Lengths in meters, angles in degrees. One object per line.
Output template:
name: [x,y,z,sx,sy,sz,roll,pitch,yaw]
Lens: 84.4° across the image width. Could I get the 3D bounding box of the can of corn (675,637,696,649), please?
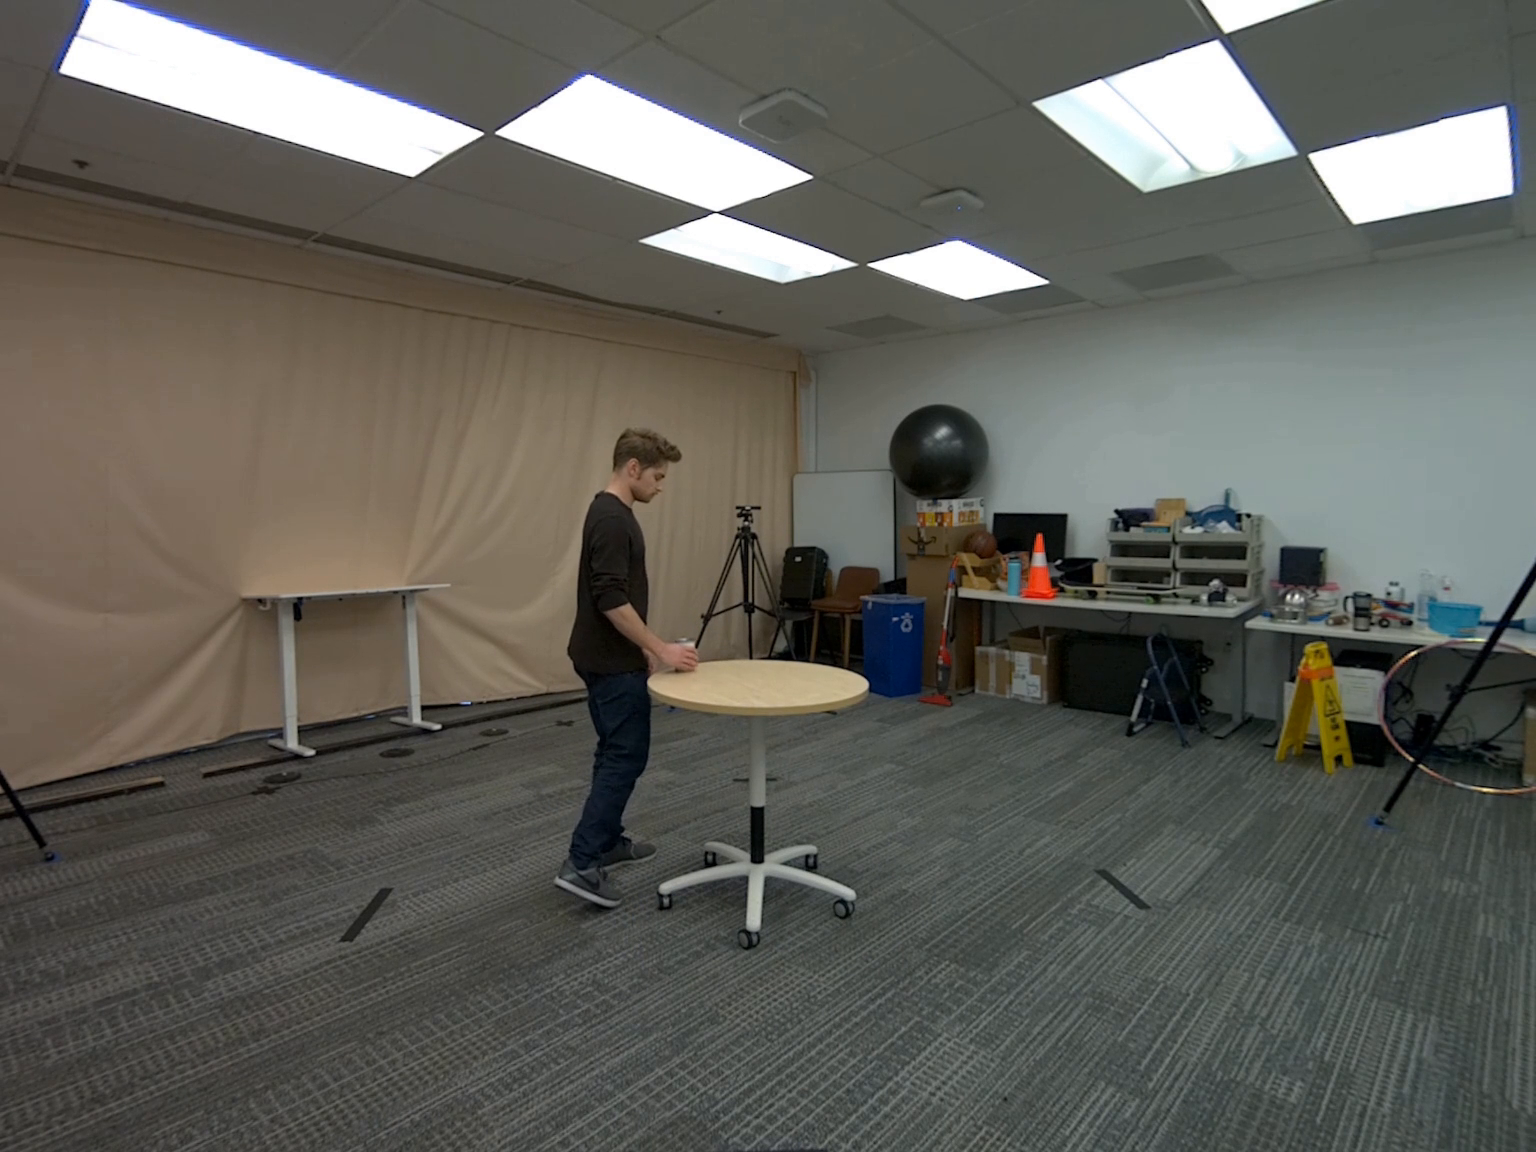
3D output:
can of corn: [-0.309,0.293,3.100,0.074,0.111,0.074,1,4,-2]
